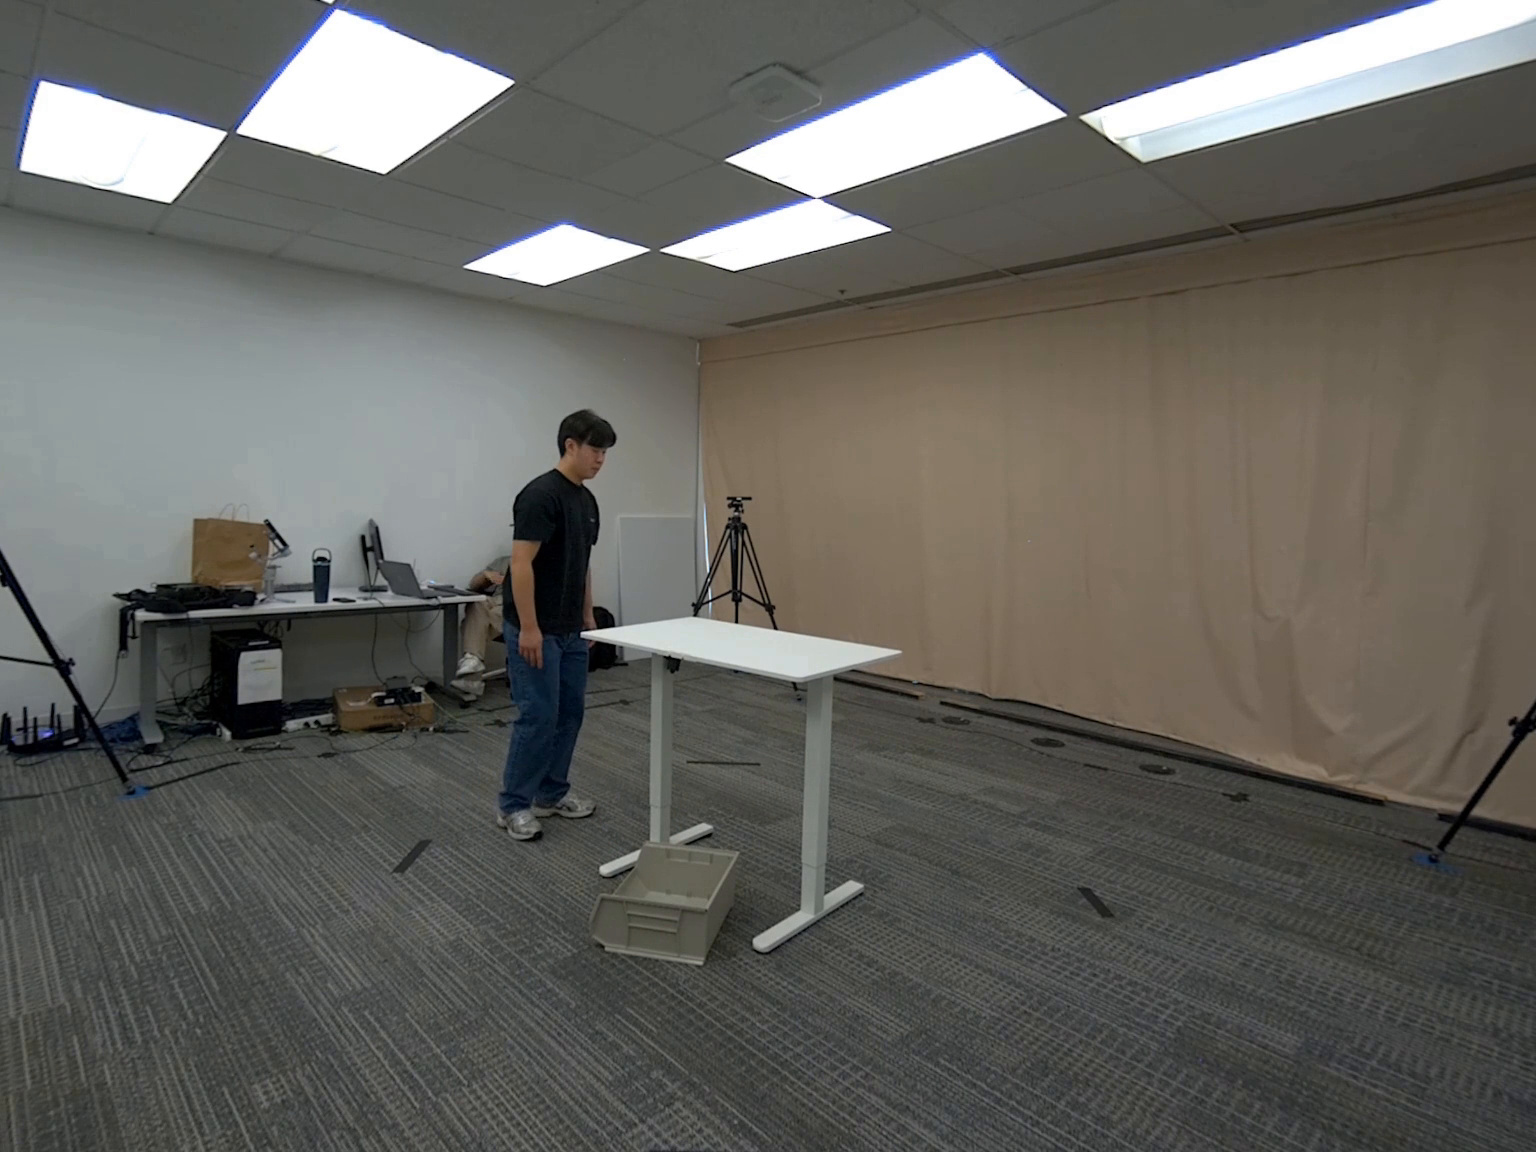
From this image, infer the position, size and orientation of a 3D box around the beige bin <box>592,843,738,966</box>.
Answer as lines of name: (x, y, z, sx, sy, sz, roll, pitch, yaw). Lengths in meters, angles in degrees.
beige bin: (-0.325, 1.049, 2.731, 0.381, 0.188, 0.419, 3, 5, 12)
